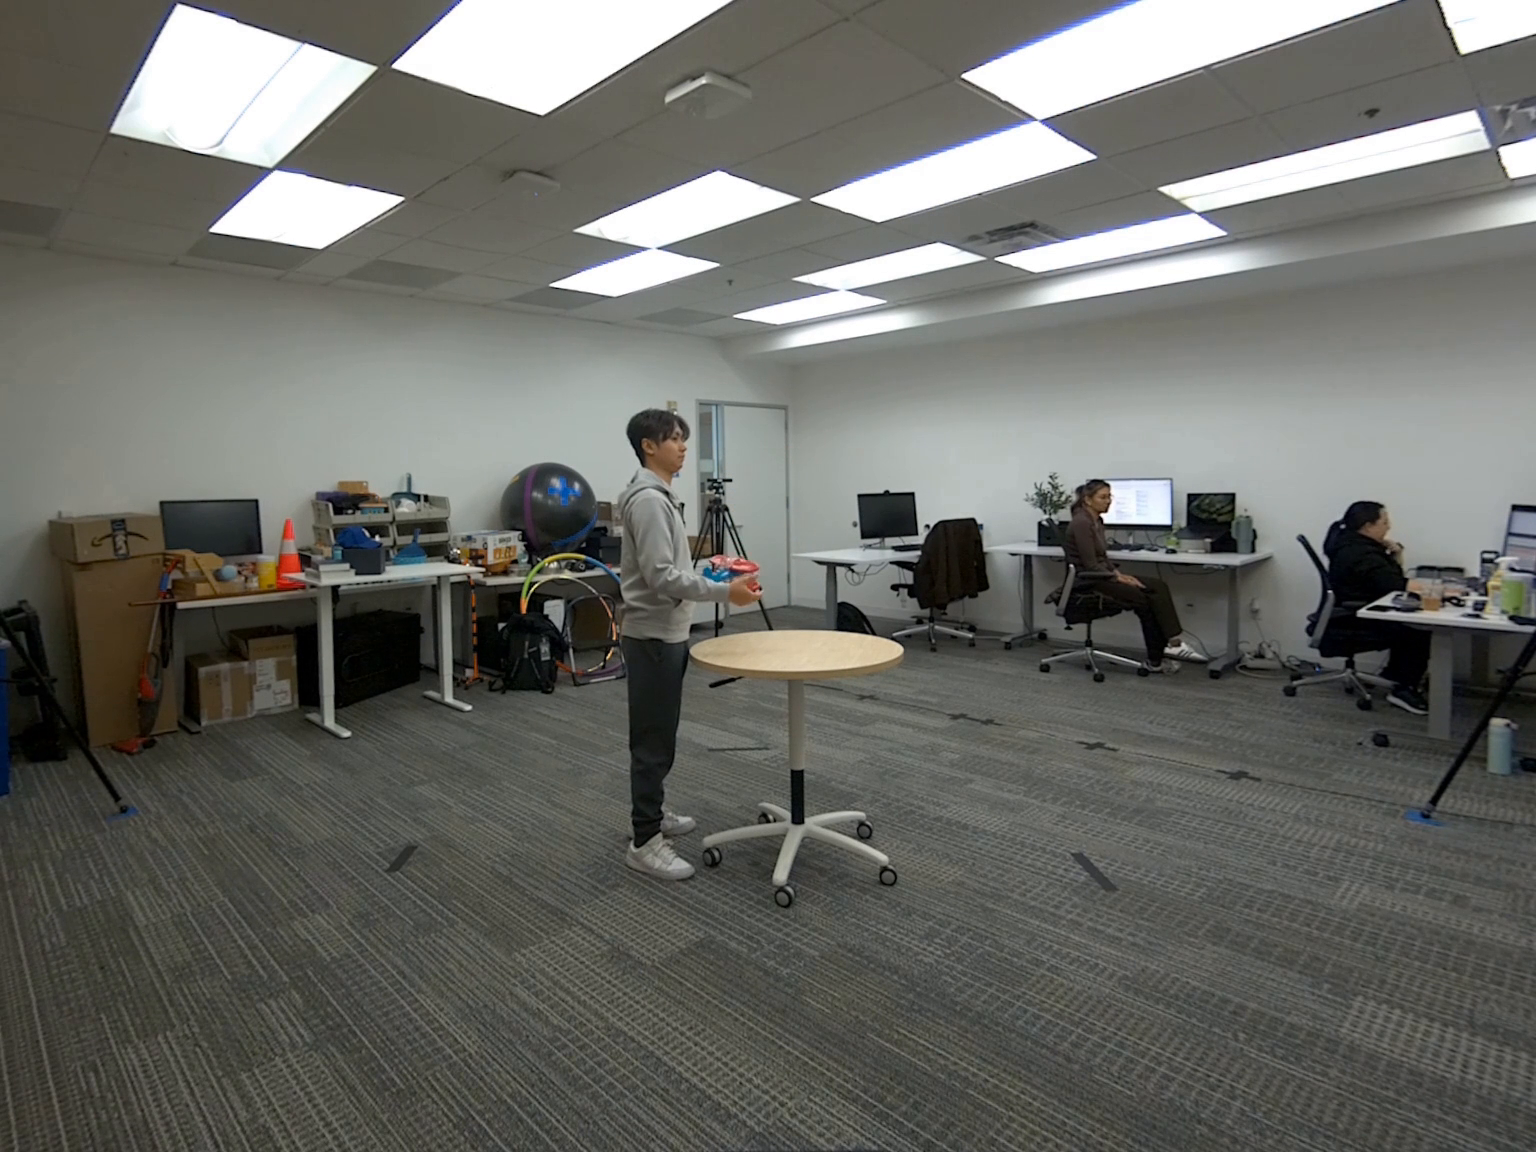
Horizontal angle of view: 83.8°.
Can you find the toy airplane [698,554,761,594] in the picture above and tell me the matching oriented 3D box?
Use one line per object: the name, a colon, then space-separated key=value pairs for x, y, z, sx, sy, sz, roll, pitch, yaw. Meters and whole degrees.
toy airplane: x=-0.138 y=0.004 z=3.455 sx=0.255 sy=0.155 sz=0.257 roll=9 pitch=9 yaw=14
